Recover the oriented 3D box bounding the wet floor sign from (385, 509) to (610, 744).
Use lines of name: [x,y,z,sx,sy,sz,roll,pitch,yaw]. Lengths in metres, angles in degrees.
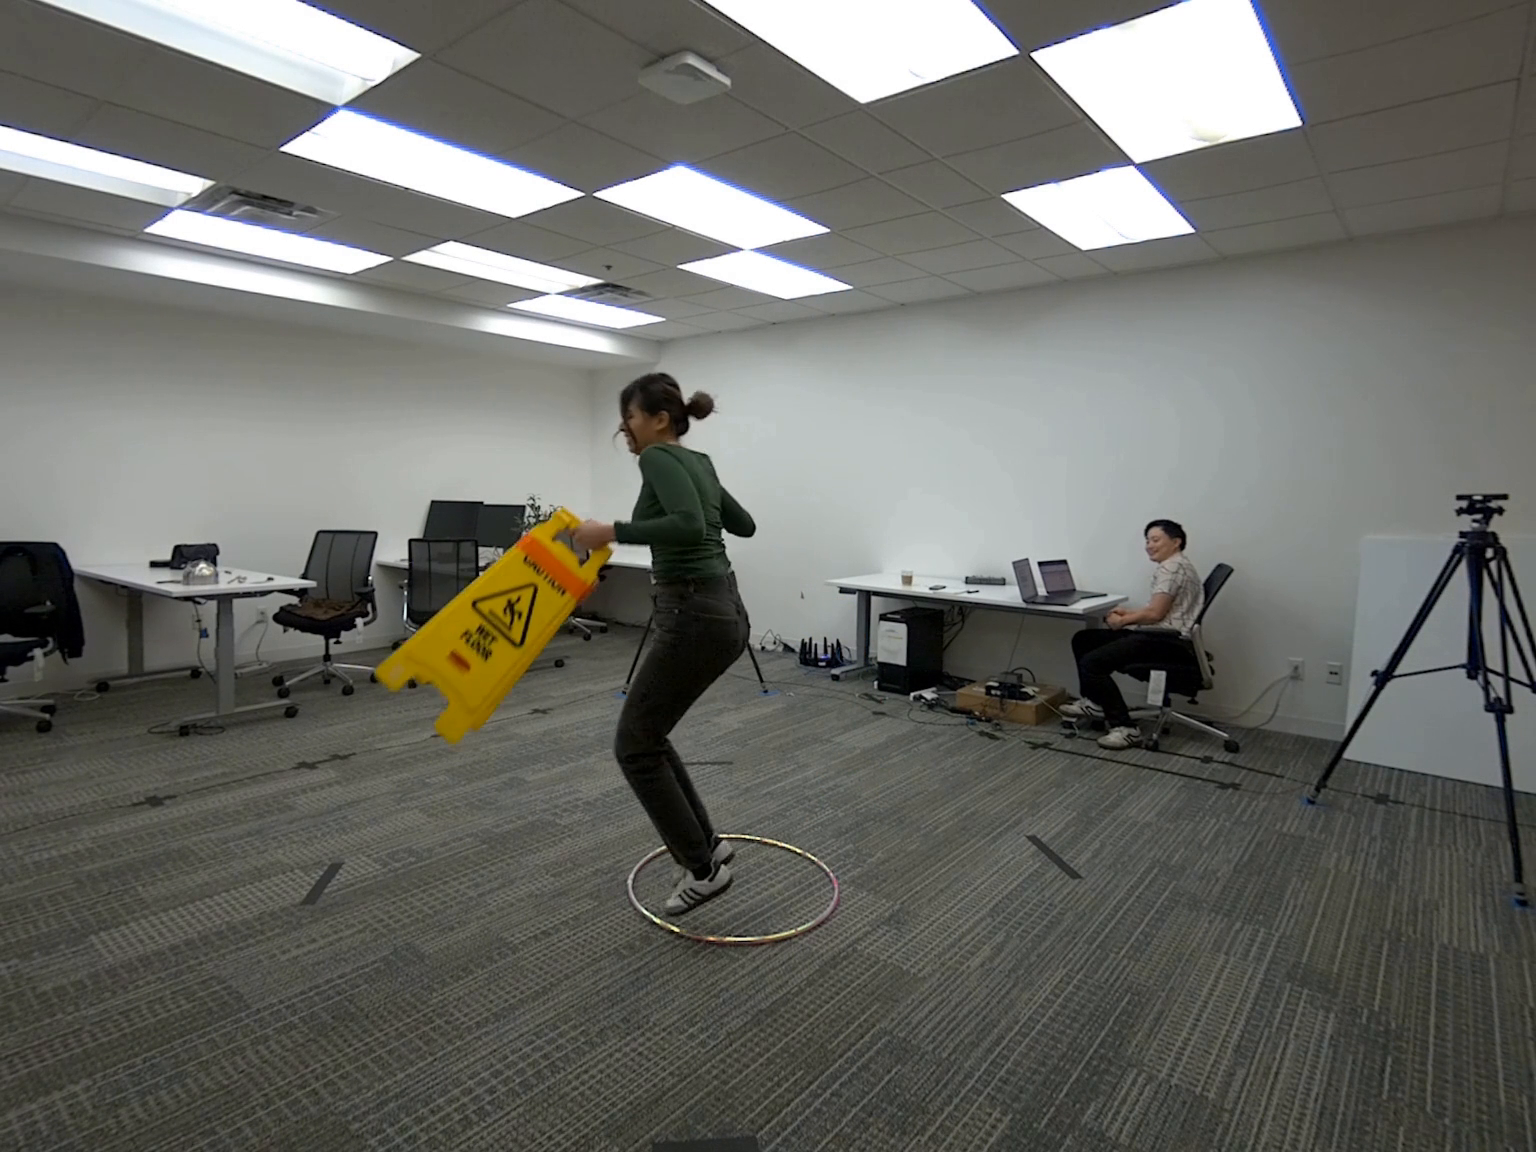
wet floor sign: [-0.698,0.114,2.416,0.282,0.646,0.290,42,-2,-2]
